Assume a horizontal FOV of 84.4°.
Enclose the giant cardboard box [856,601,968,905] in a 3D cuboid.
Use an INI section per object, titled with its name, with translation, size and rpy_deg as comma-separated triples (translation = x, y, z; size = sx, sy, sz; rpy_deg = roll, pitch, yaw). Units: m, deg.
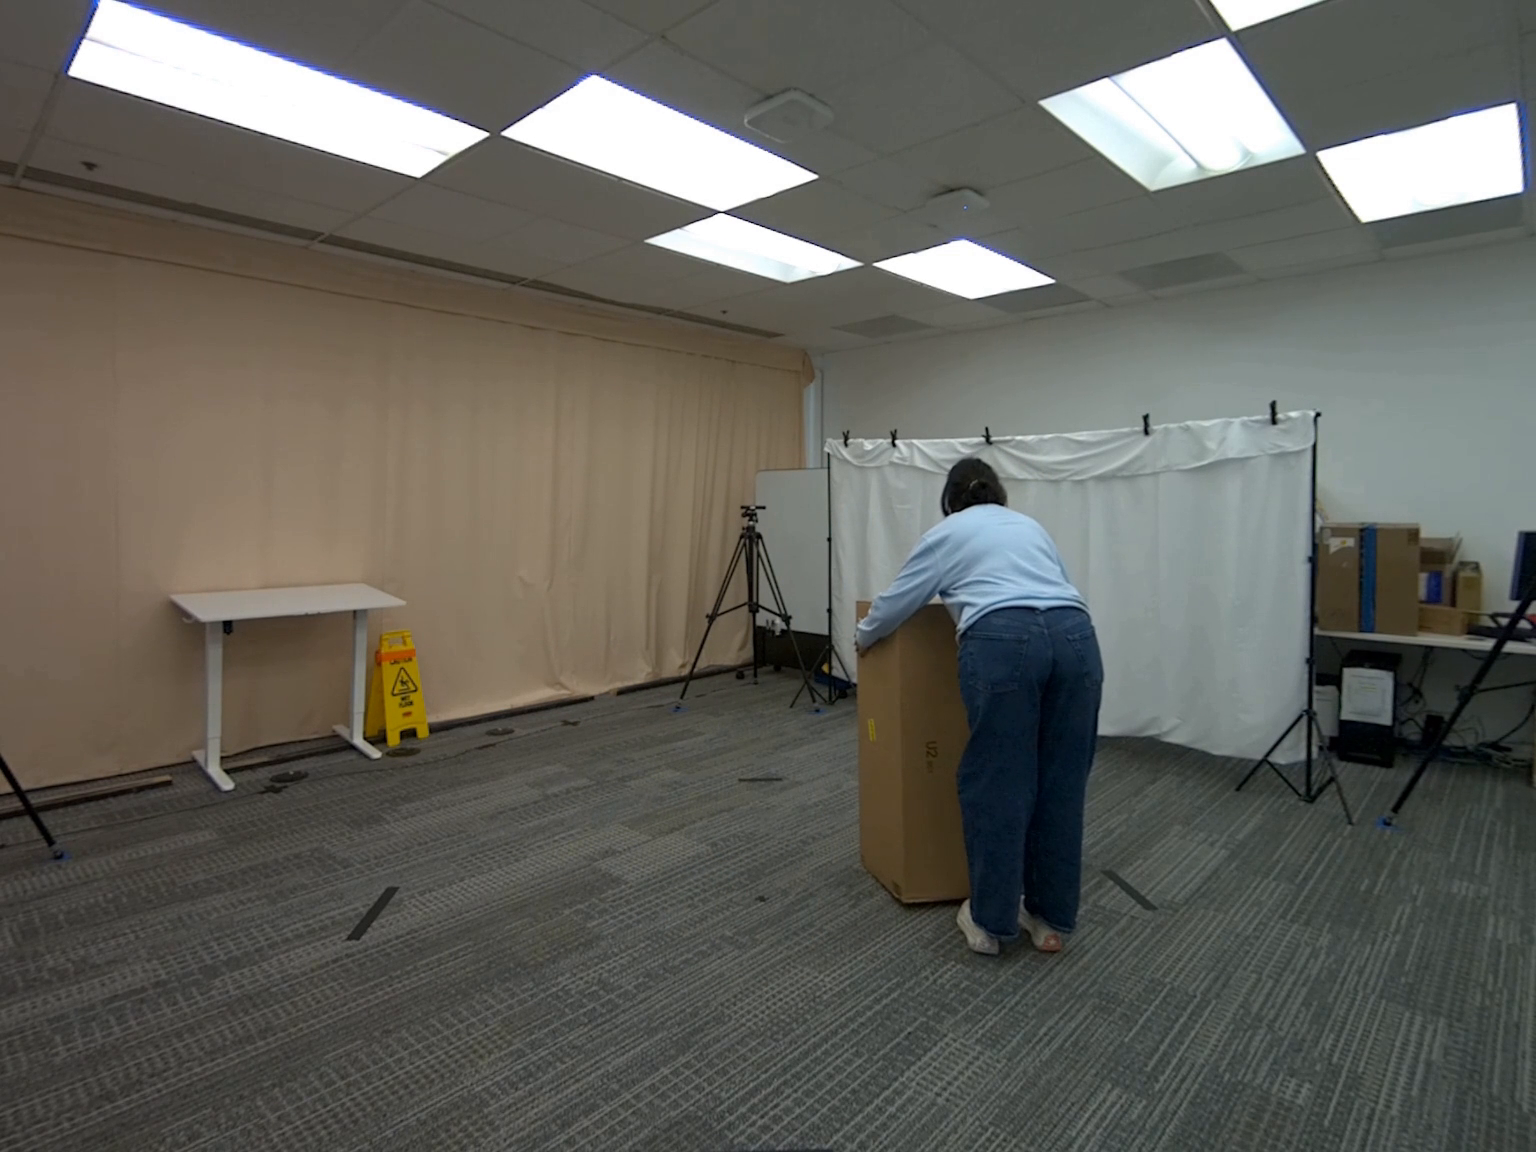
[giant cardboard box]
translation = 0.688, 0.610, 3.151
size = 0.570, 1.026, 0.431
rpy_deg = 0, -1, -12
